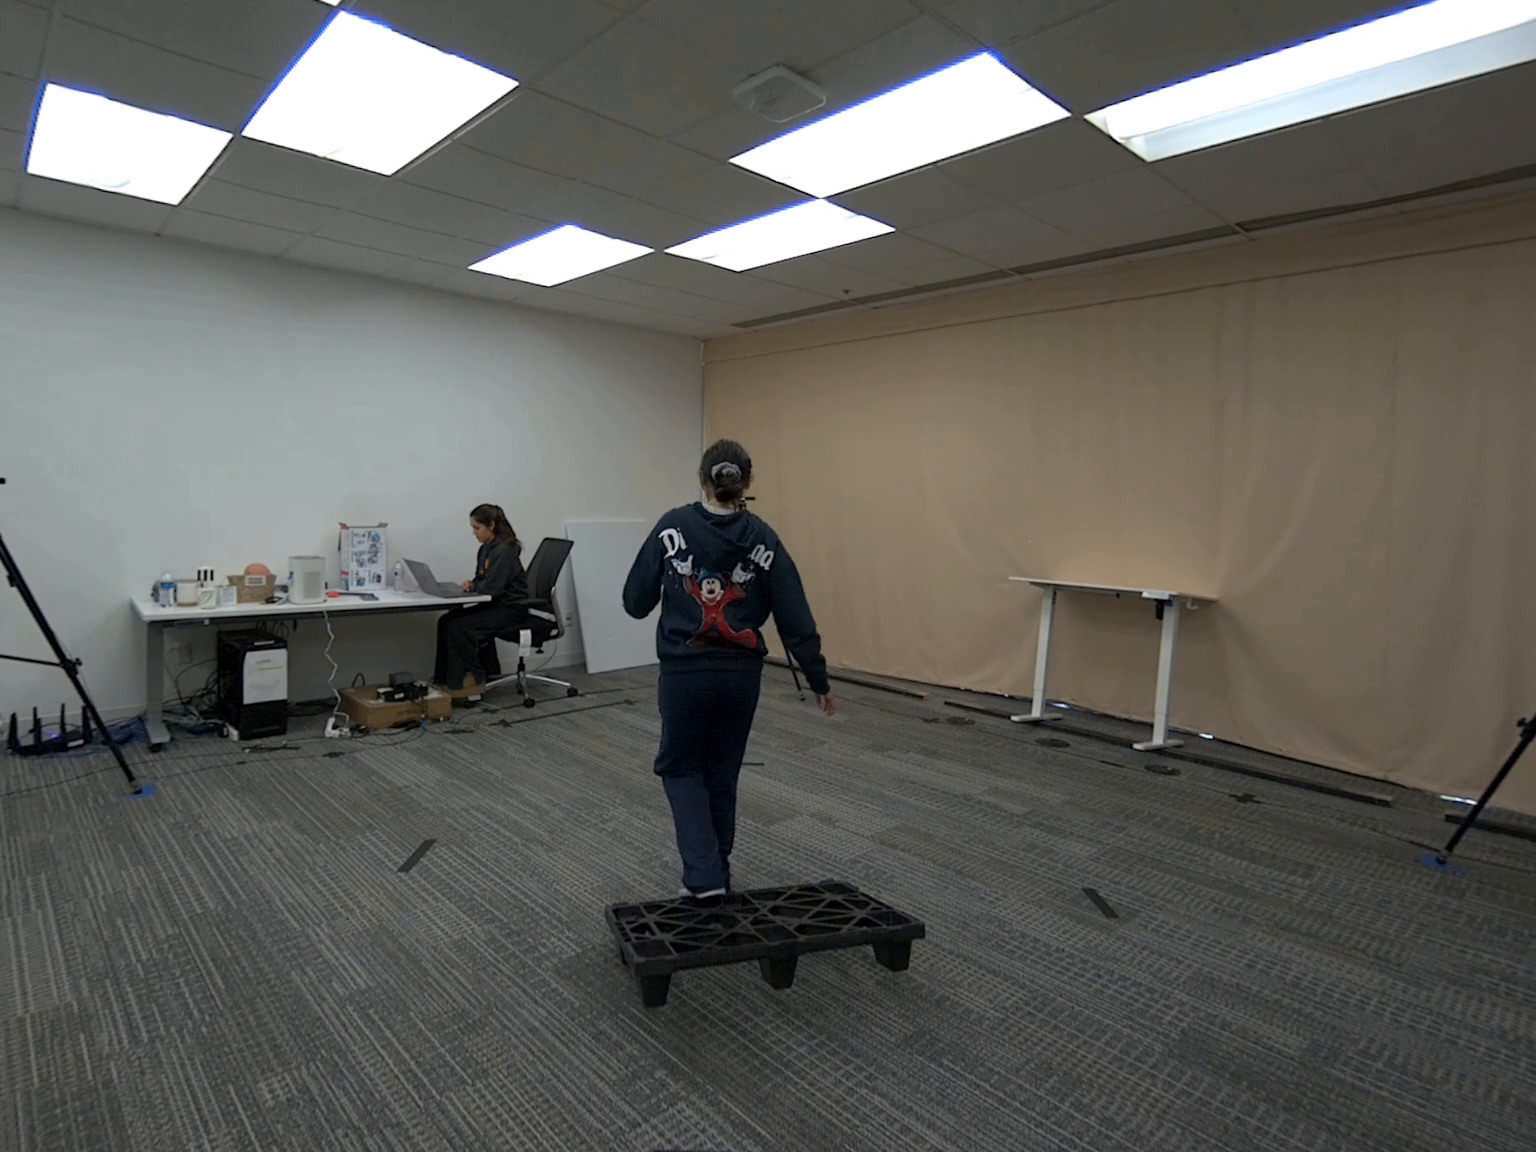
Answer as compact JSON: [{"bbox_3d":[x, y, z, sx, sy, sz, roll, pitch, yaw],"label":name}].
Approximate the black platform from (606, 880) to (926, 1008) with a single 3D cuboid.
[{"bbox_3d":[-0.037,1.063,2.431,0.795,0.144,0.609,0,-7,-17],"label":"black platform"}]
